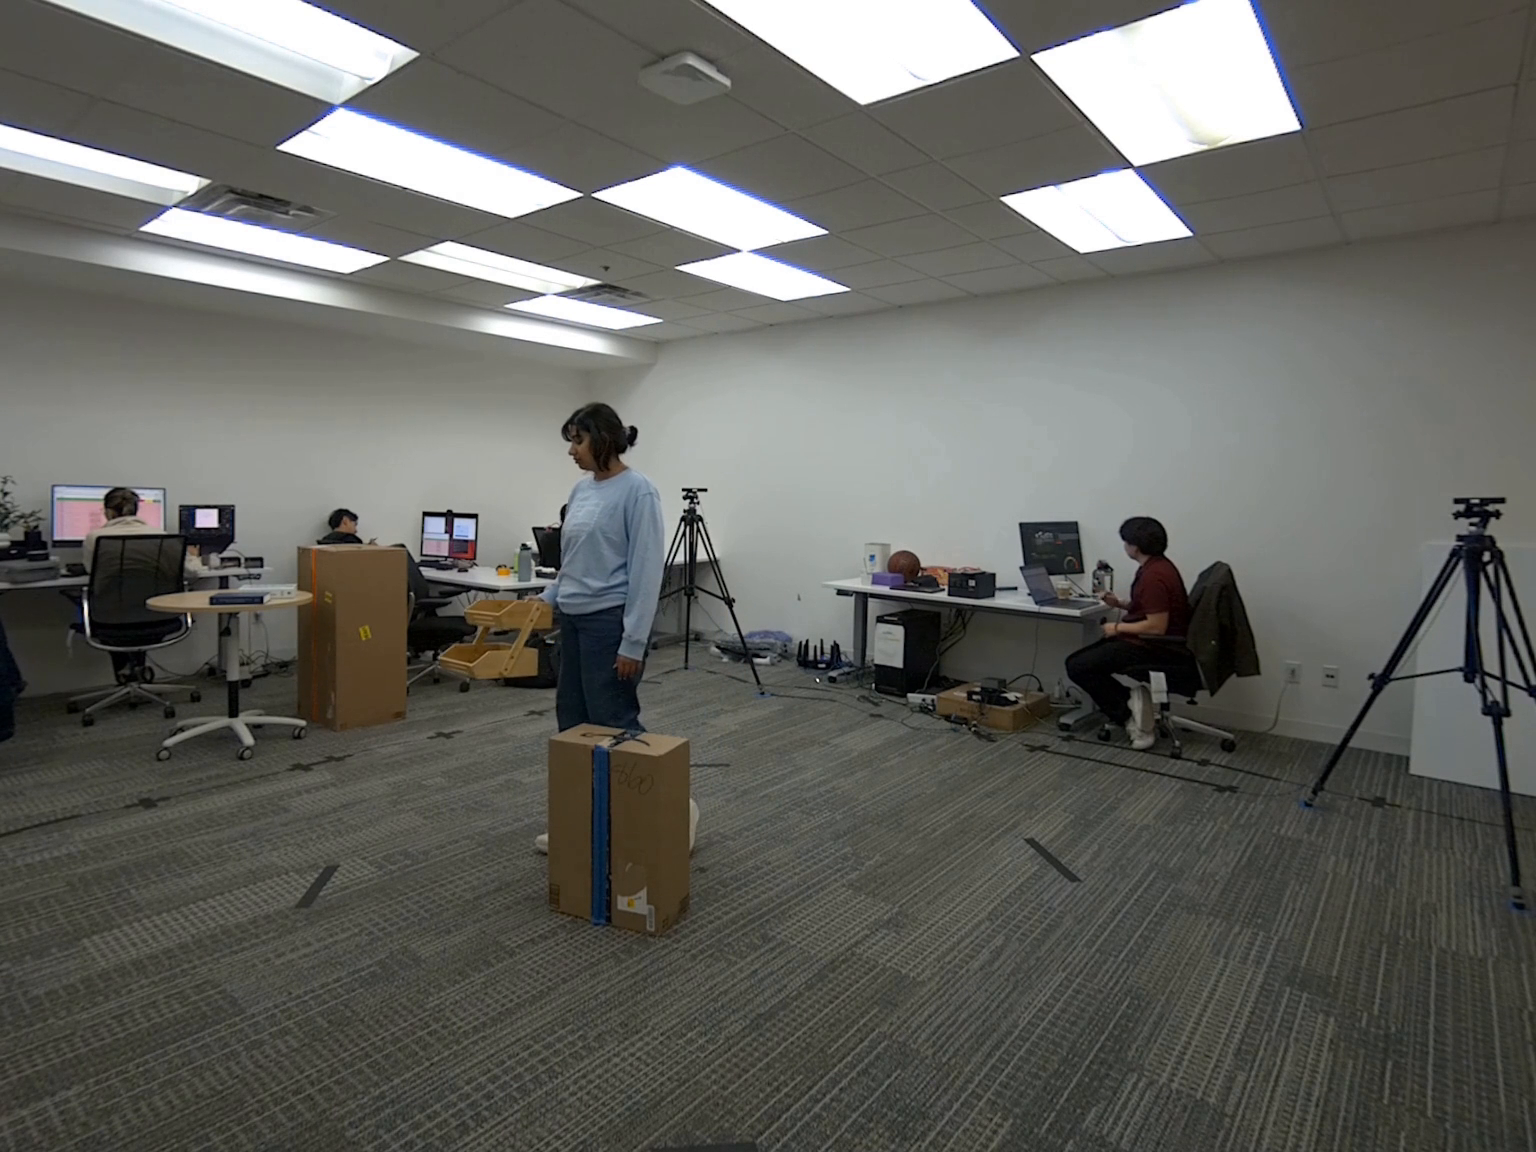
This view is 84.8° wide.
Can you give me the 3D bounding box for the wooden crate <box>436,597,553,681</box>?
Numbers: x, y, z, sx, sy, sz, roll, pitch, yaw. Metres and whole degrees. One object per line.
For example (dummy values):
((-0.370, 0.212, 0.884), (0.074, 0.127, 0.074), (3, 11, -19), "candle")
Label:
((-1.013, 0.215, 3.110), (0.292, 0.274, 0.334), (4, -3, -41), "wooden crate")
